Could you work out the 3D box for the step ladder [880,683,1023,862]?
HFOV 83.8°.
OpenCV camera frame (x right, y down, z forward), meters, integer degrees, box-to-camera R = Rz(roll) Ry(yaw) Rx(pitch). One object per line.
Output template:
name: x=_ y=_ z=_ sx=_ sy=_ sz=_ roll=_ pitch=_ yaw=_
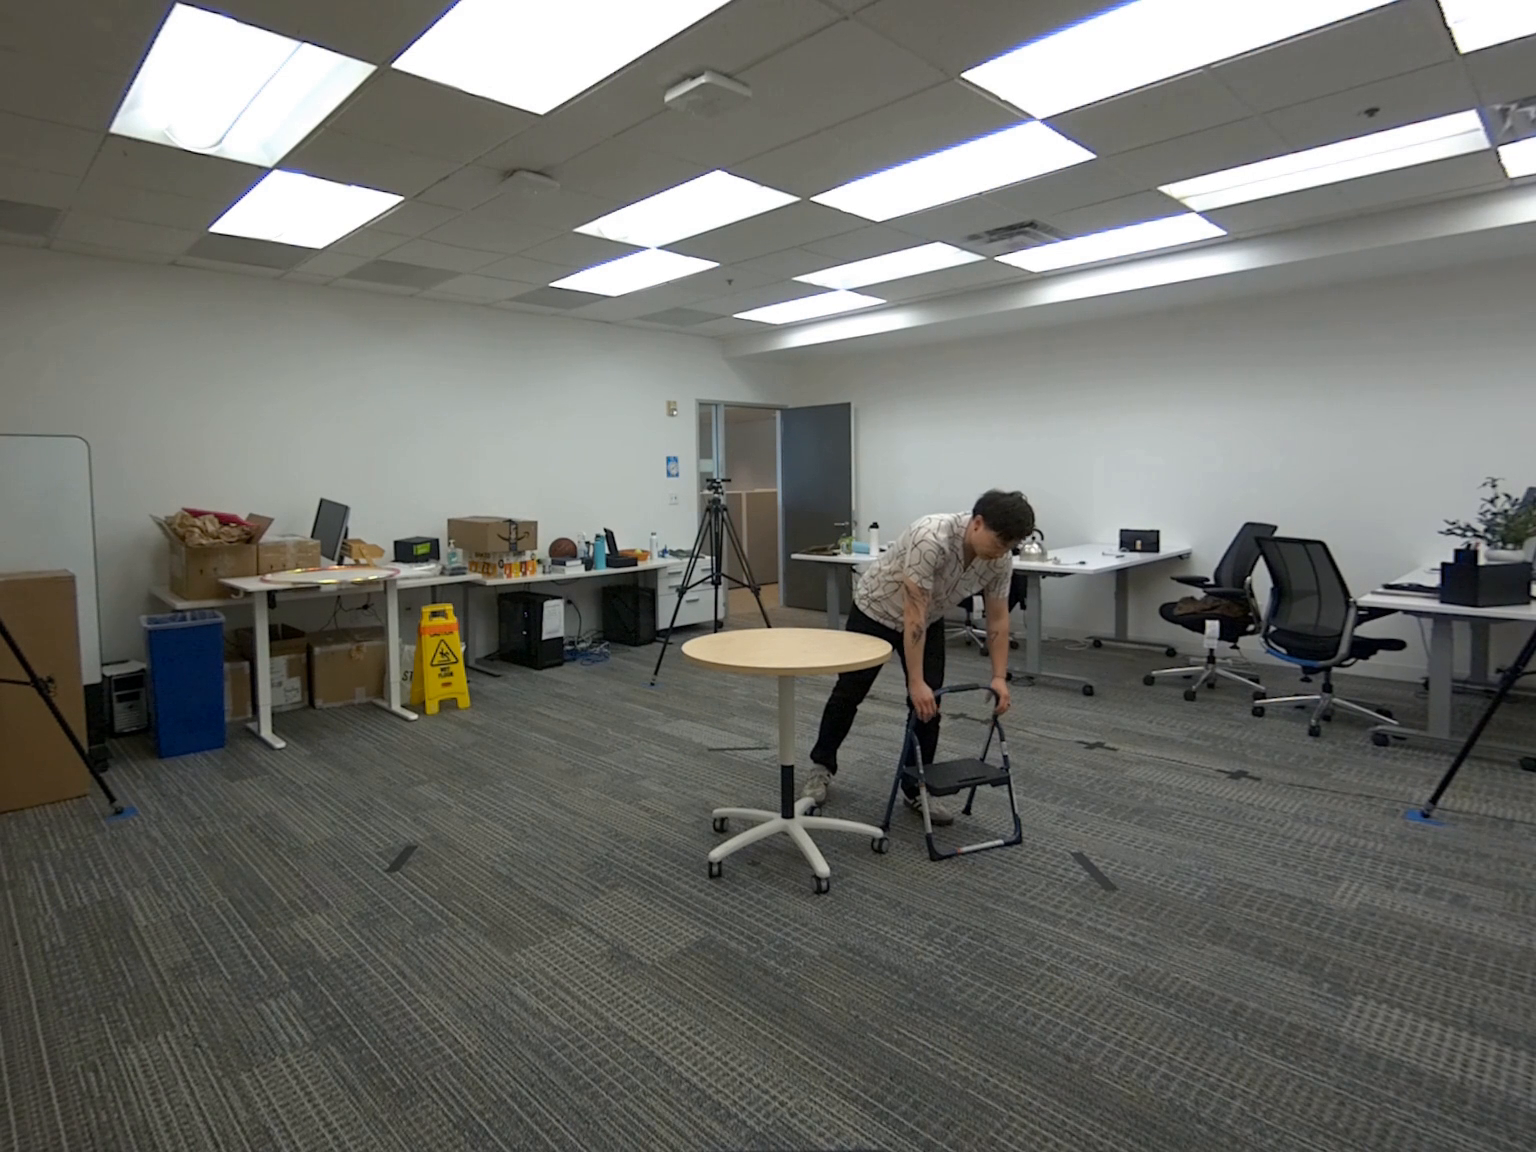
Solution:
step ladder: x=0.706 y=0.709 z=3.301 sx=0.422 sy=0.604 sz=0.358 roll=-2 pitch=4 yaw=-24
